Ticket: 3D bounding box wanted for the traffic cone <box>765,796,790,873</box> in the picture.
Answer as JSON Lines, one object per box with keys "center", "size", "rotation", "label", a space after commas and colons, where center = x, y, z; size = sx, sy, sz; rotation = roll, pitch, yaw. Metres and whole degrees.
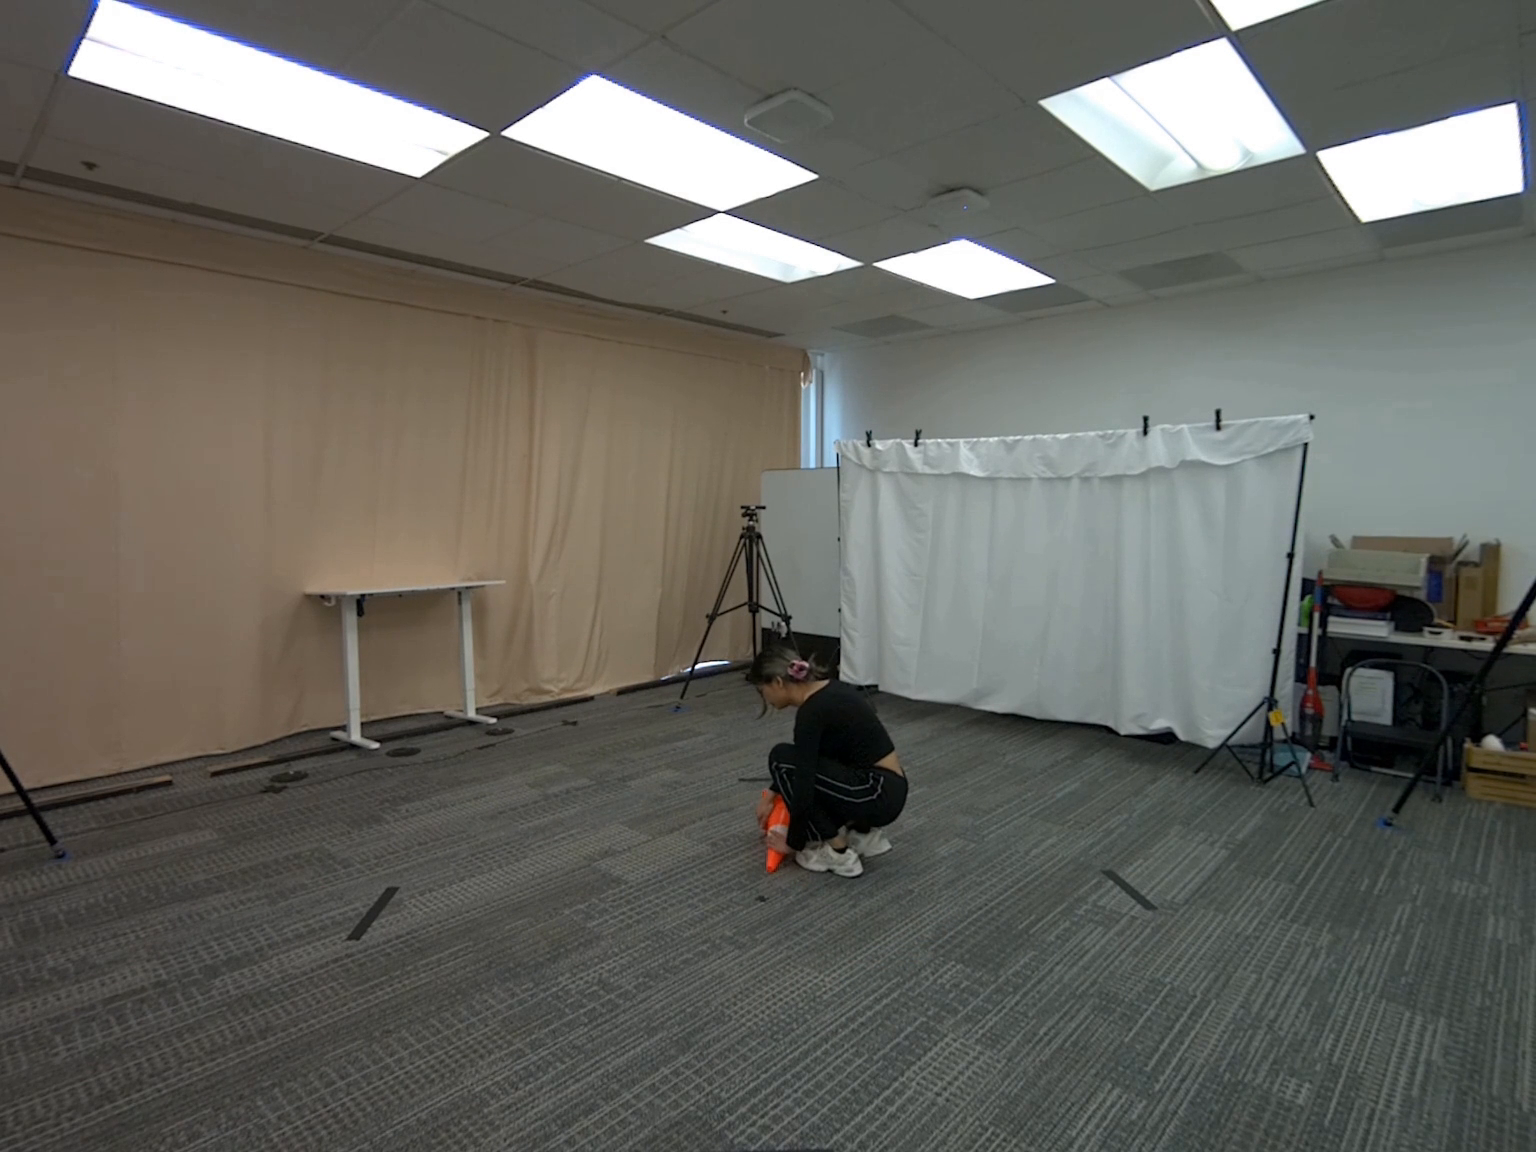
{"center": [0.052, 1.044, 3.365], "size": [0.208, 0.202, 0.381], "rotation": [5, 14, 11], "label": "traffic cone"}
